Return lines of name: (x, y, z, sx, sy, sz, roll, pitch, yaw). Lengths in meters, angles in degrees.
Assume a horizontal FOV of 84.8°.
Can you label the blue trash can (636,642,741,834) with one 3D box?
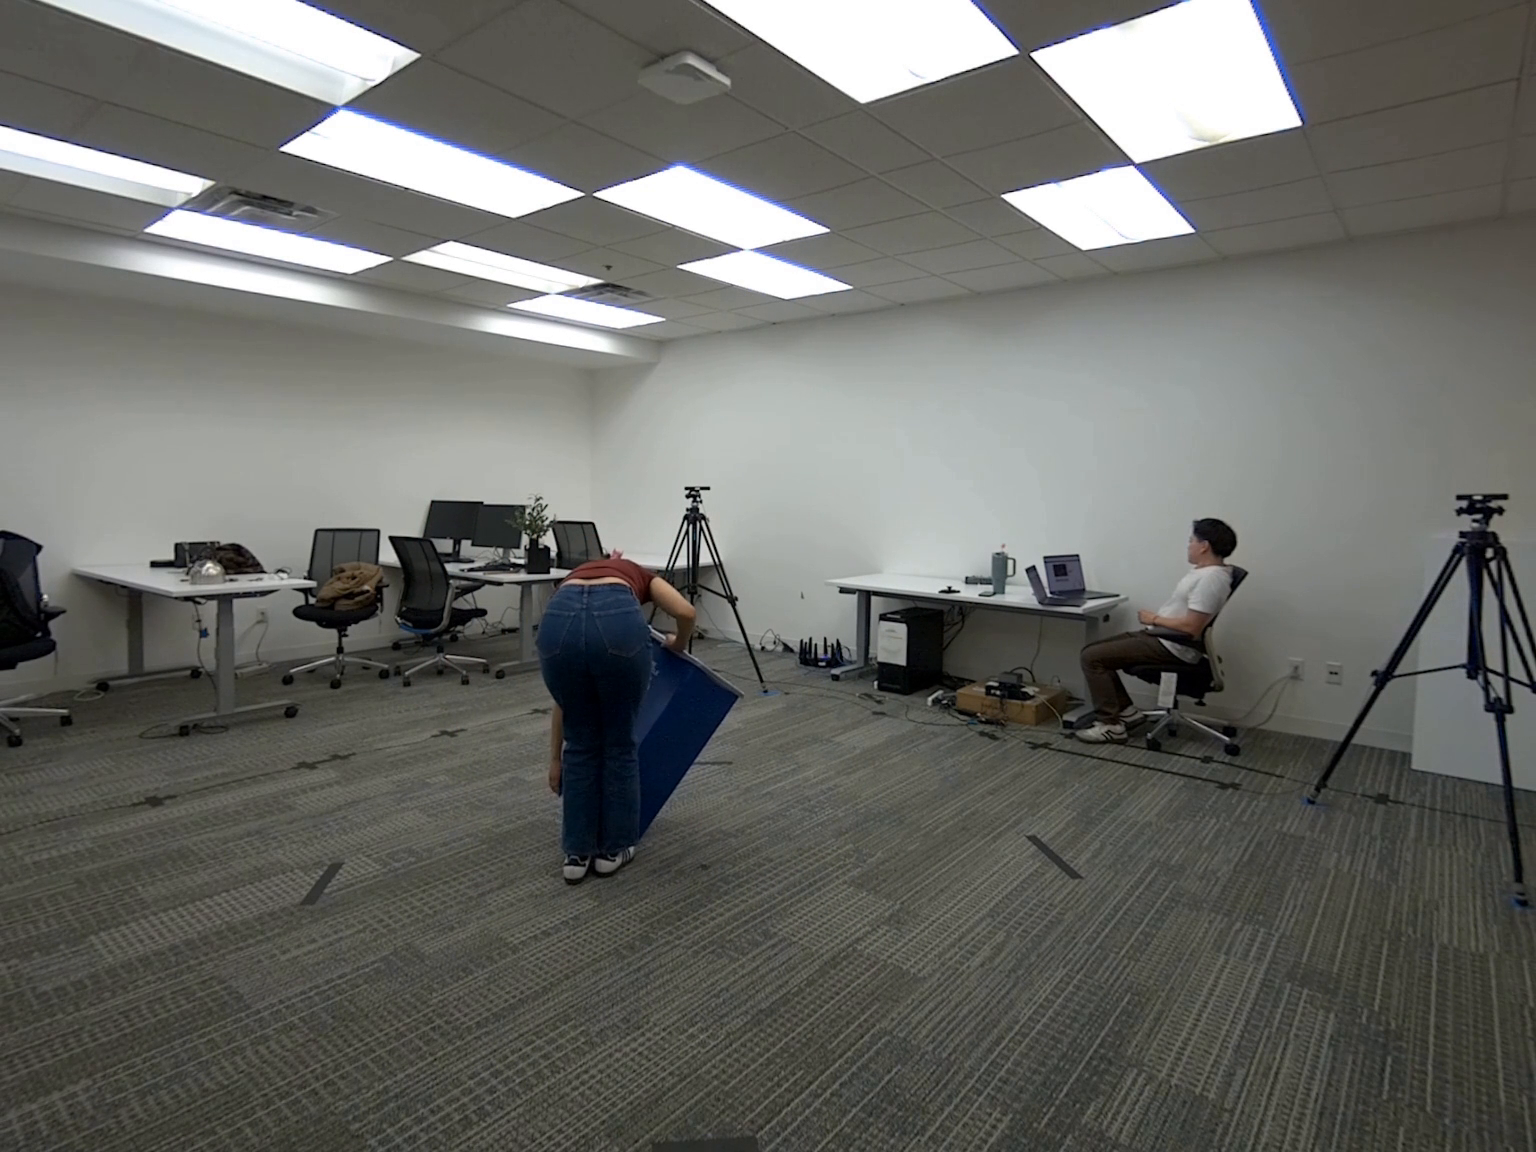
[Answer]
blue trash can: (-0.489, 0.637, 3.409, 0.389, 0.715, 0.362, 24, -13, 43)
